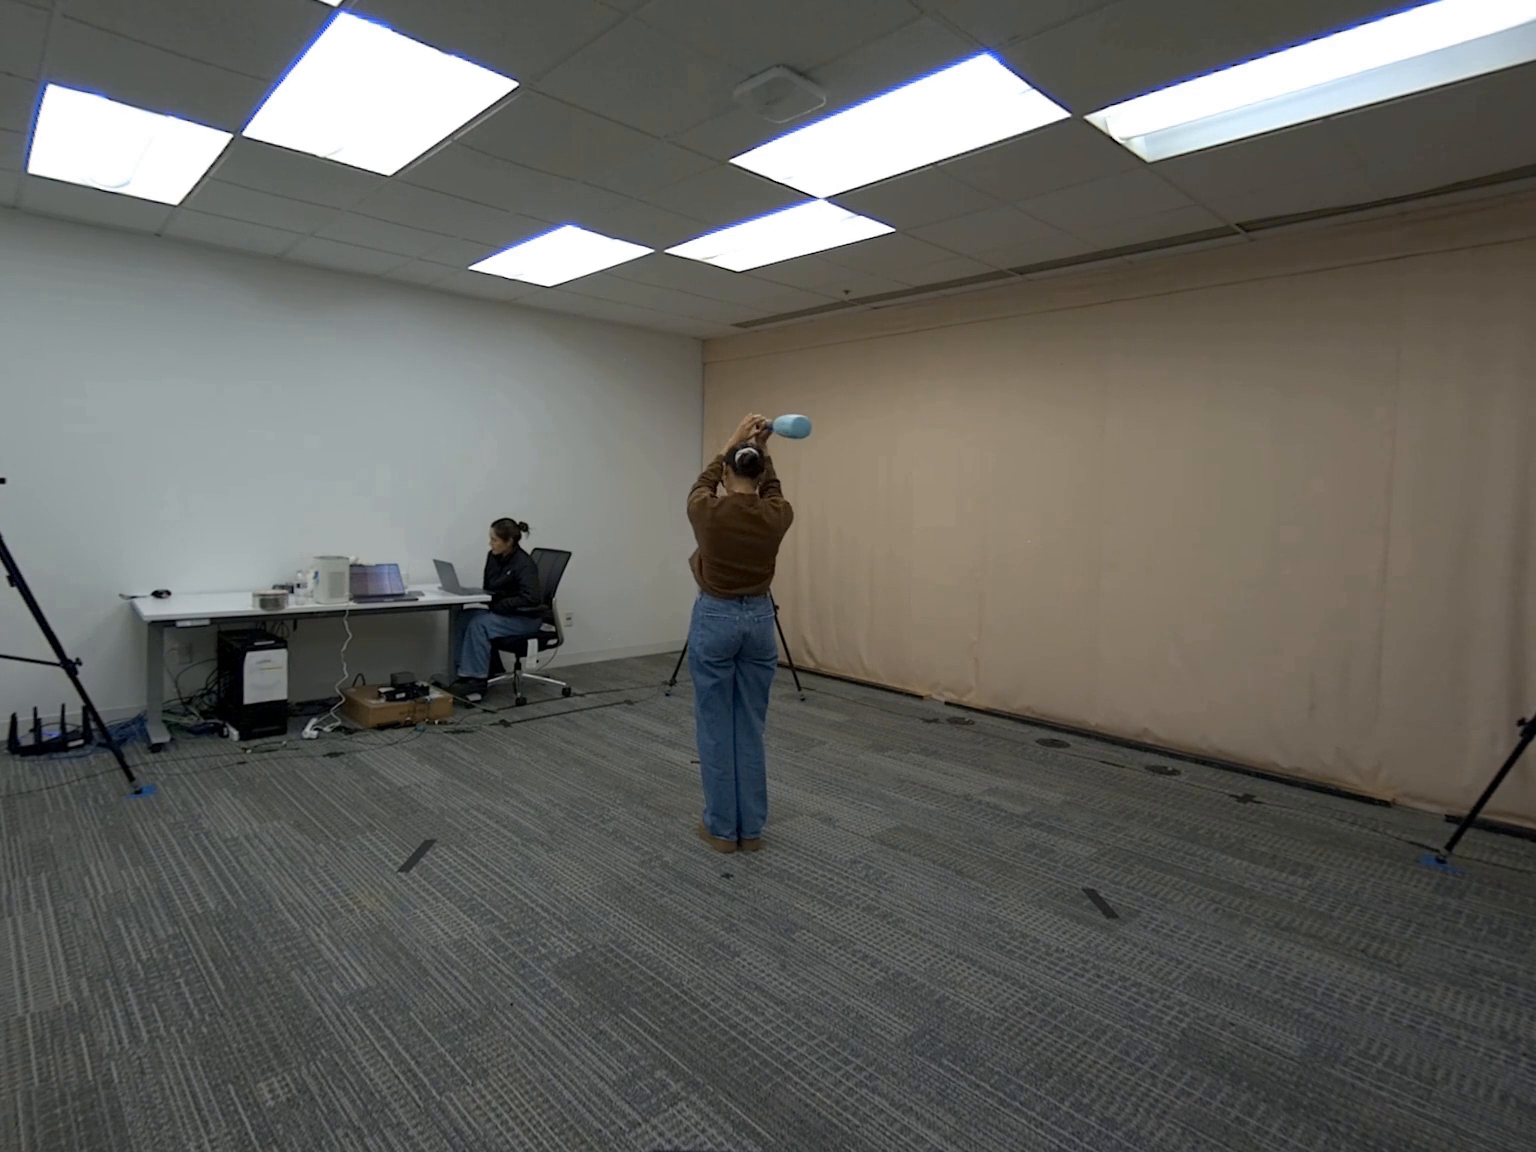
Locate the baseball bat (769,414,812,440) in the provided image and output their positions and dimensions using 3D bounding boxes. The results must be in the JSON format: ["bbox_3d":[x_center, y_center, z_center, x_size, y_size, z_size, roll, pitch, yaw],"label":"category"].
[{"bbox_3d":[0.040,-0.584,3.288,0.088,0.088,0.552,0,11,-15],"label":"baseball bat"}]
